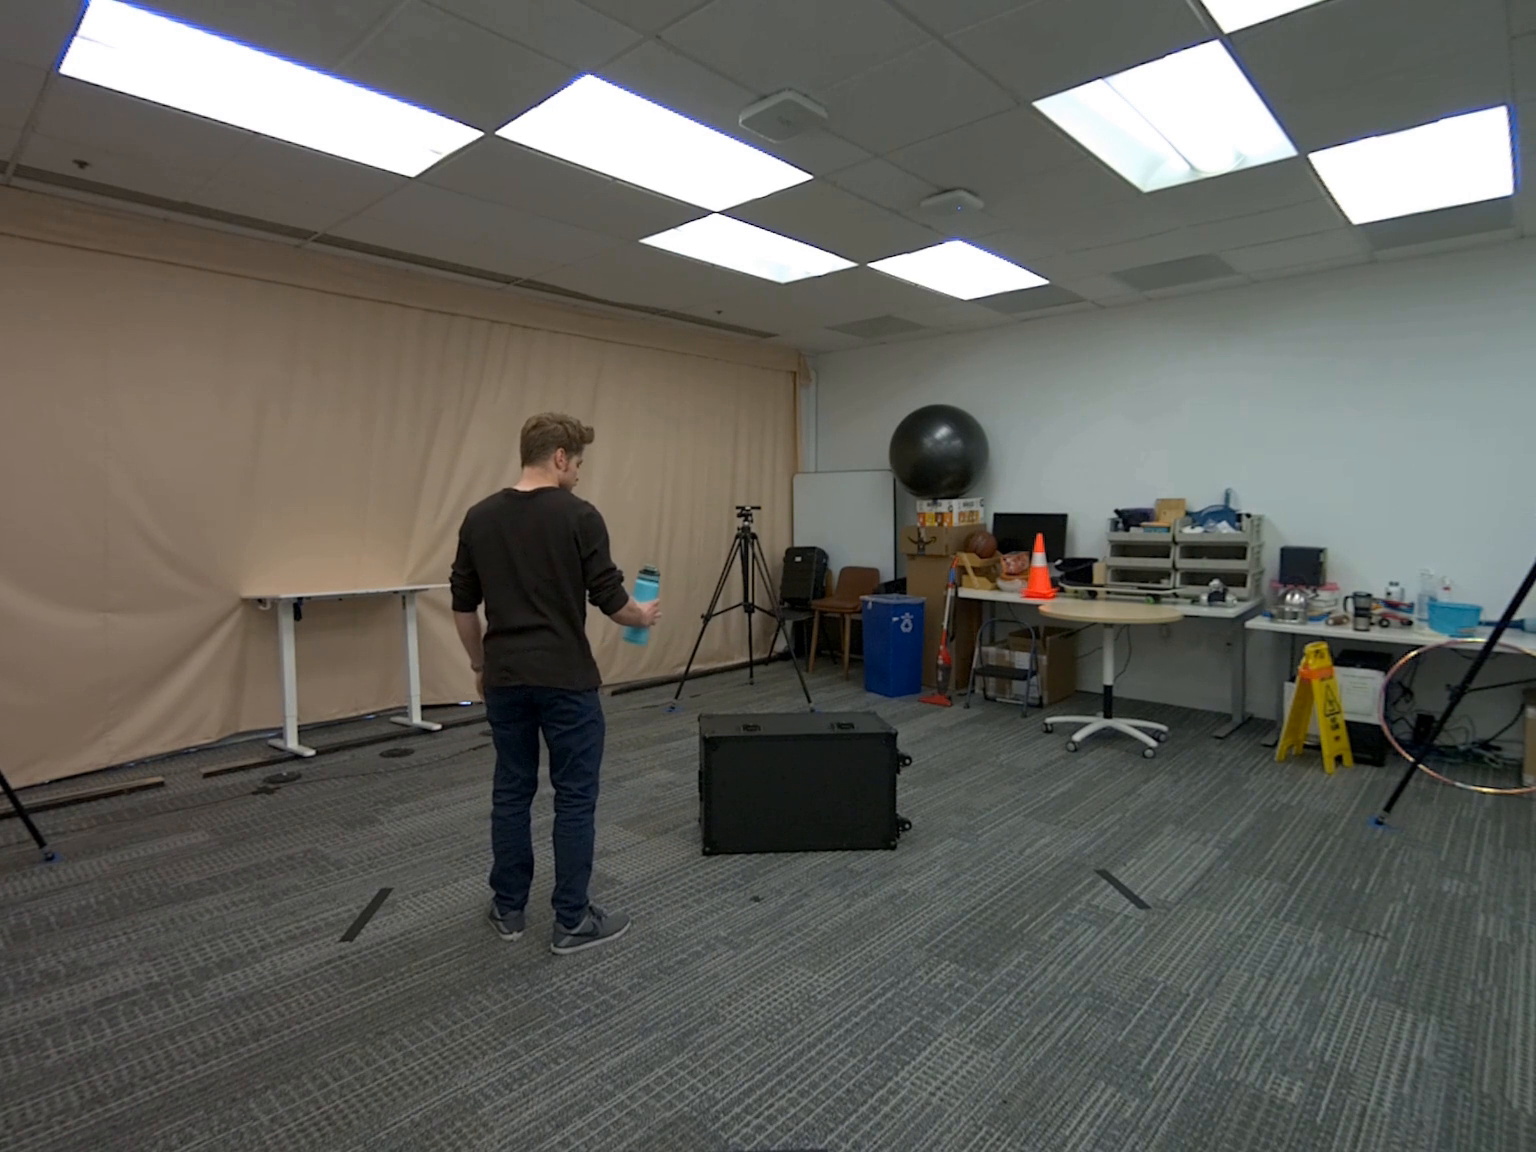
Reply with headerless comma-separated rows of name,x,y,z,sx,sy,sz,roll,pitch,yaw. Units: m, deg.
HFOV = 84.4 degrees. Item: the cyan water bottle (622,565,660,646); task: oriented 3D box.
cyan water bottle,-0.453,0.102,3.044,0.092,0.283,0.092,12,-2,-2
